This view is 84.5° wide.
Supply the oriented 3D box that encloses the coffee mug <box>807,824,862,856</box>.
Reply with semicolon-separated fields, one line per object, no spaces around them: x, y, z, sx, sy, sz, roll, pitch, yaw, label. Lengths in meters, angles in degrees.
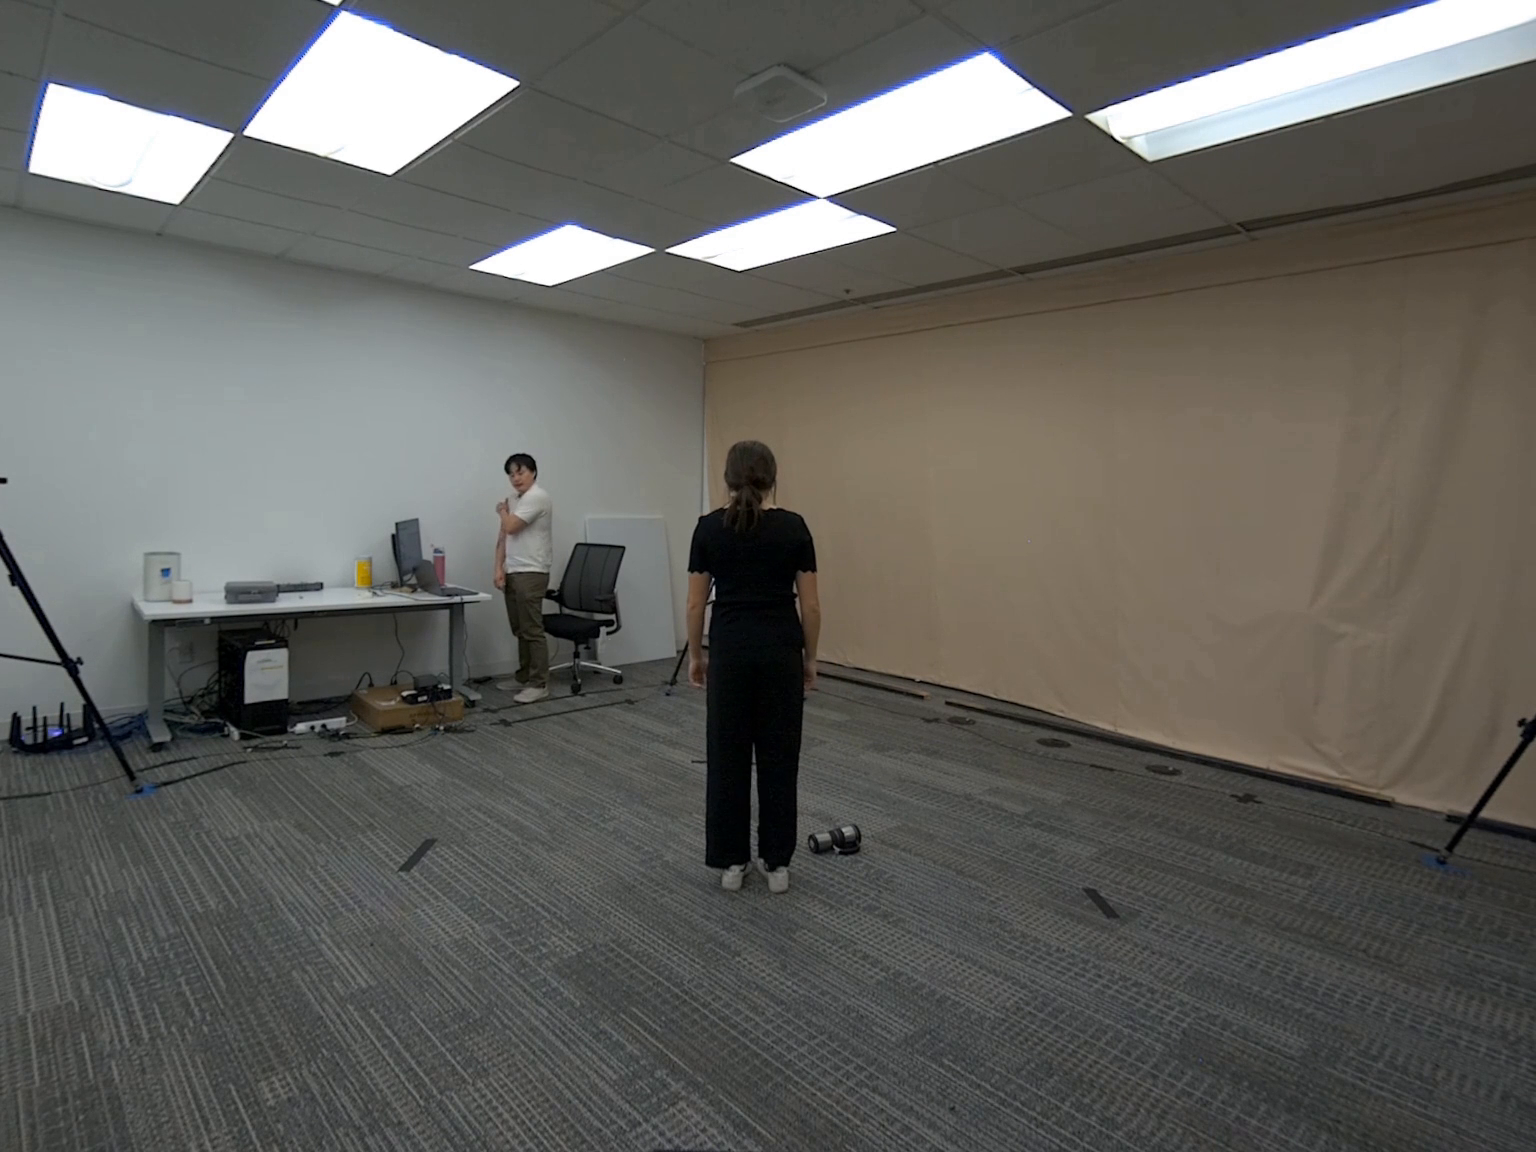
0.262;1.047;3.345;0.199;0.088;0.123;-2;-6;-28;coffee mug
